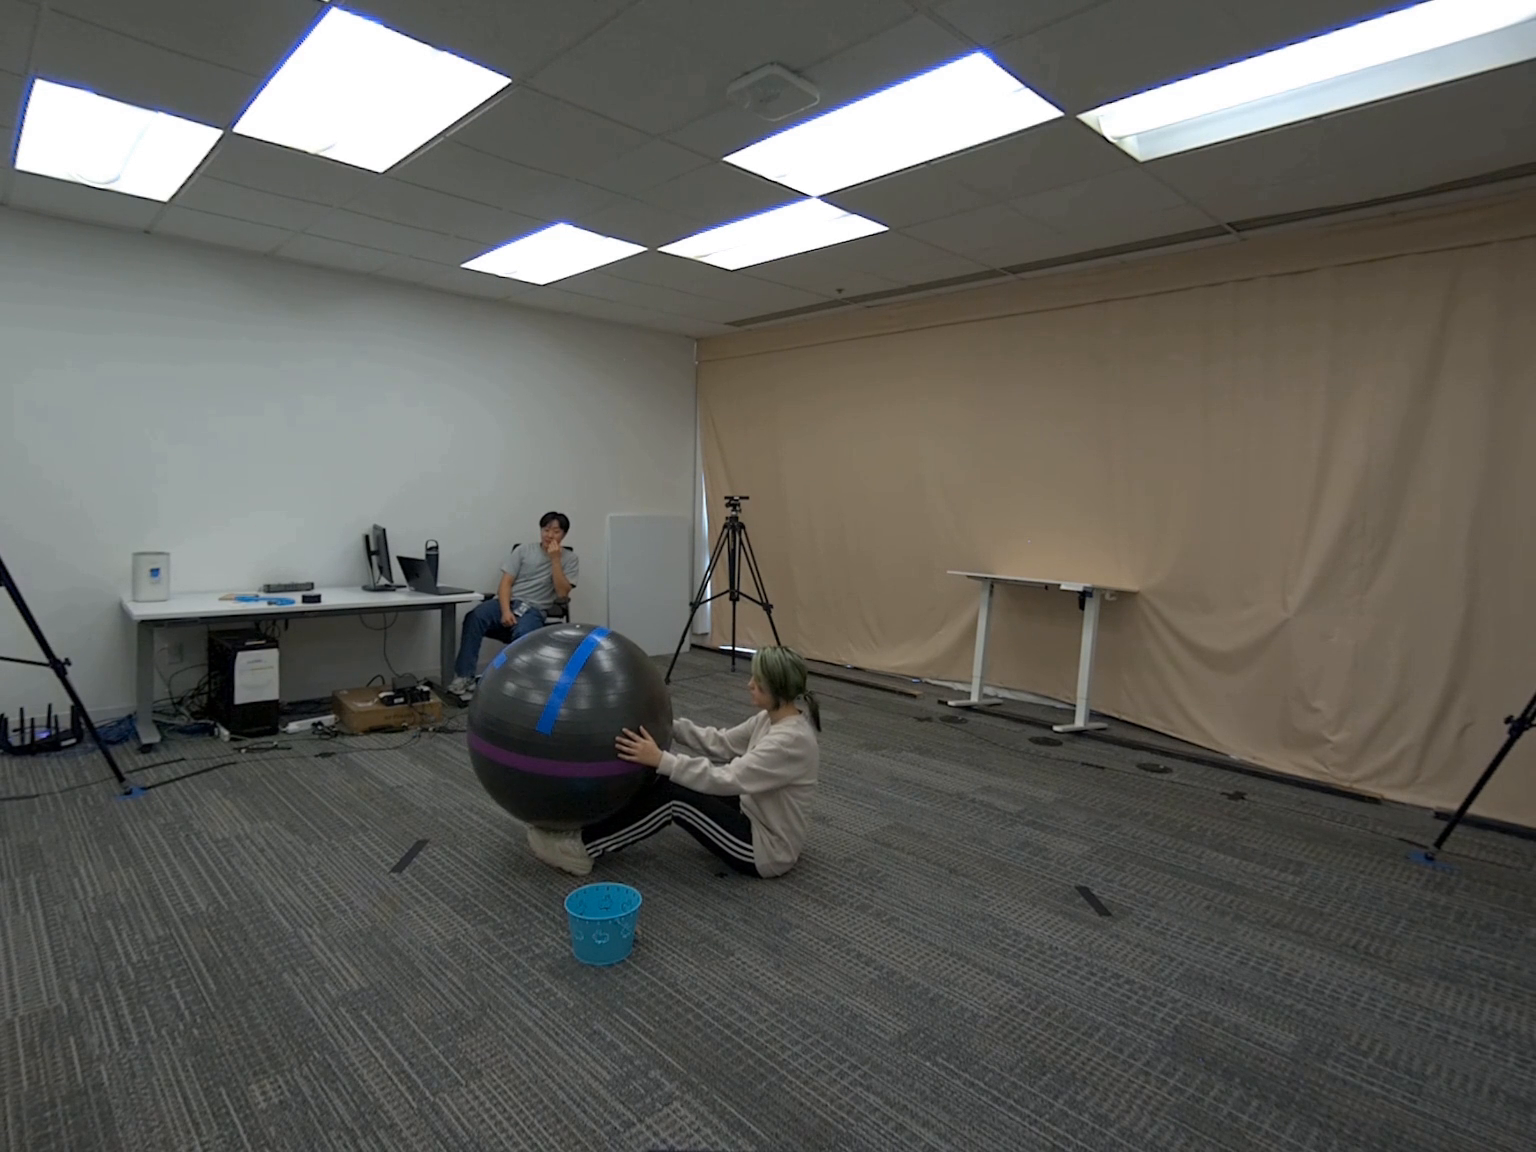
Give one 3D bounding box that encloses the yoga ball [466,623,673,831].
[{"bbox_3d":[-0.766,0.564,3.161,0.757,0.756,0.761,1,4,-1],"label":"yoga ball"}]
